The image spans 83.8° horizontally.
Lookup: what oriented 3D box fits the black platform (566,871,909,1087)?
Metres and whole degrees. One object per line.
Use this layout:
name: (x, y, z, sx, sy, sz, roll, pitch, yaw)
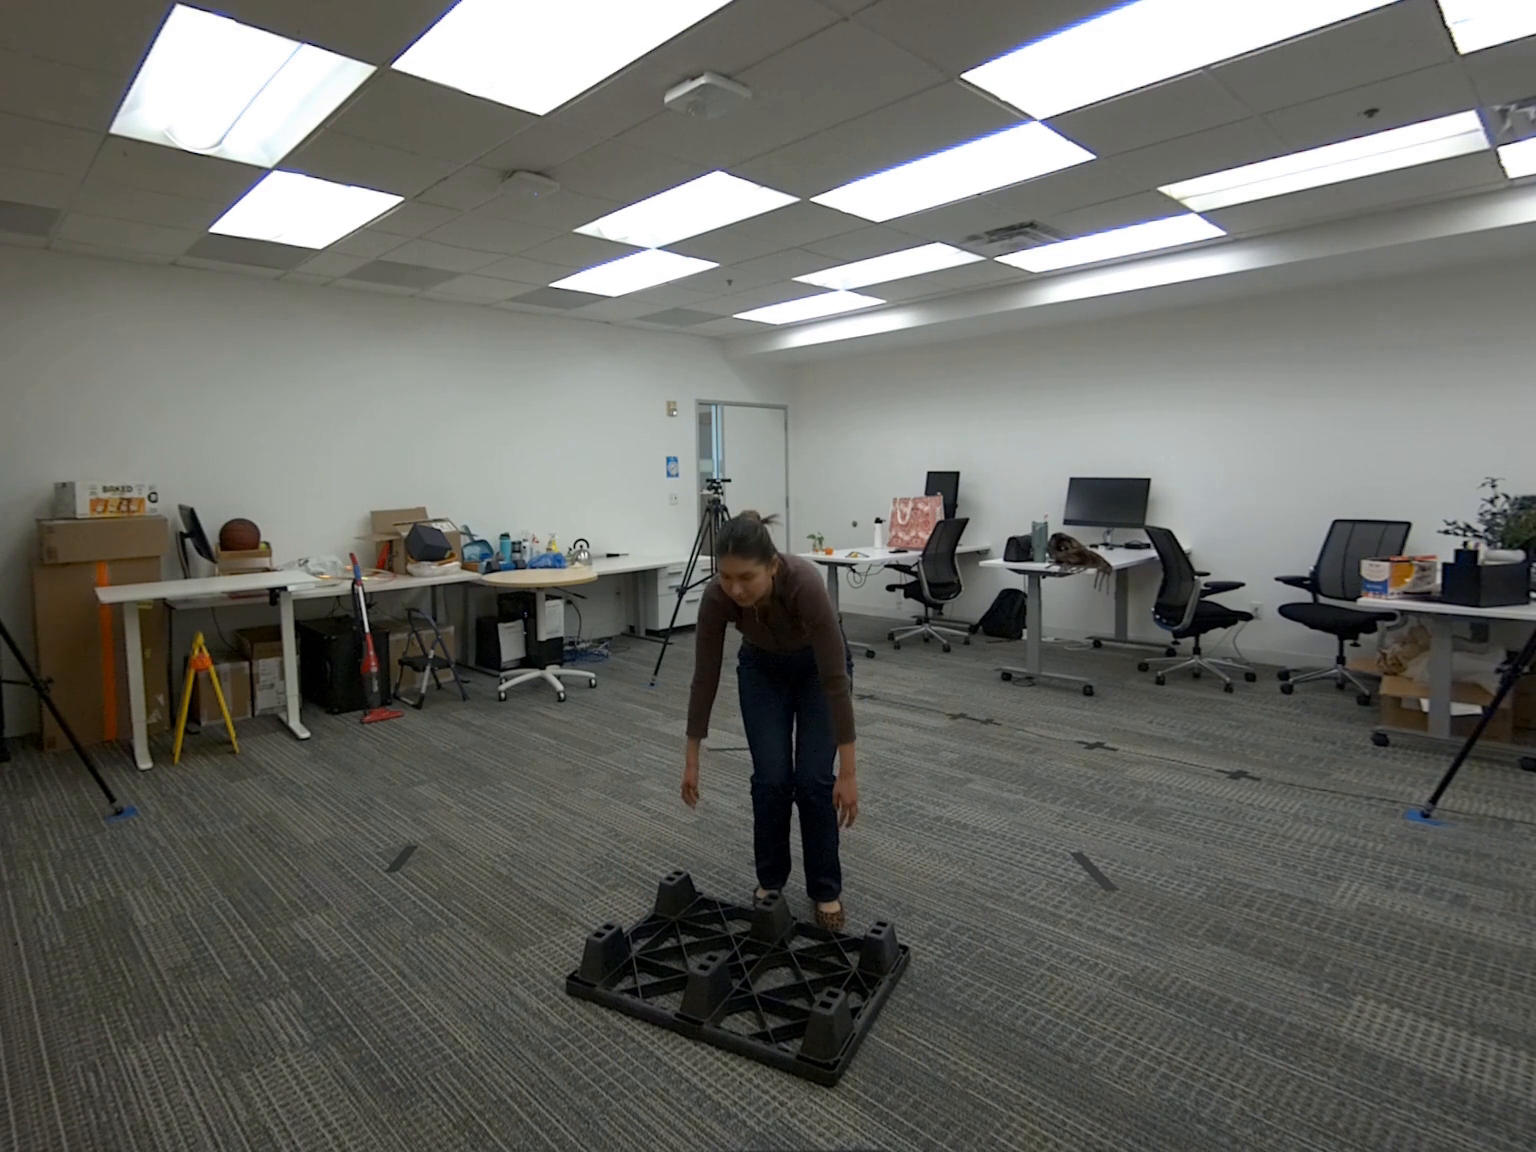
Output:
black platform: (-0.074, 1.062, 2.400, 0.826, 0.143, 0.593, 2, 7, 28)
